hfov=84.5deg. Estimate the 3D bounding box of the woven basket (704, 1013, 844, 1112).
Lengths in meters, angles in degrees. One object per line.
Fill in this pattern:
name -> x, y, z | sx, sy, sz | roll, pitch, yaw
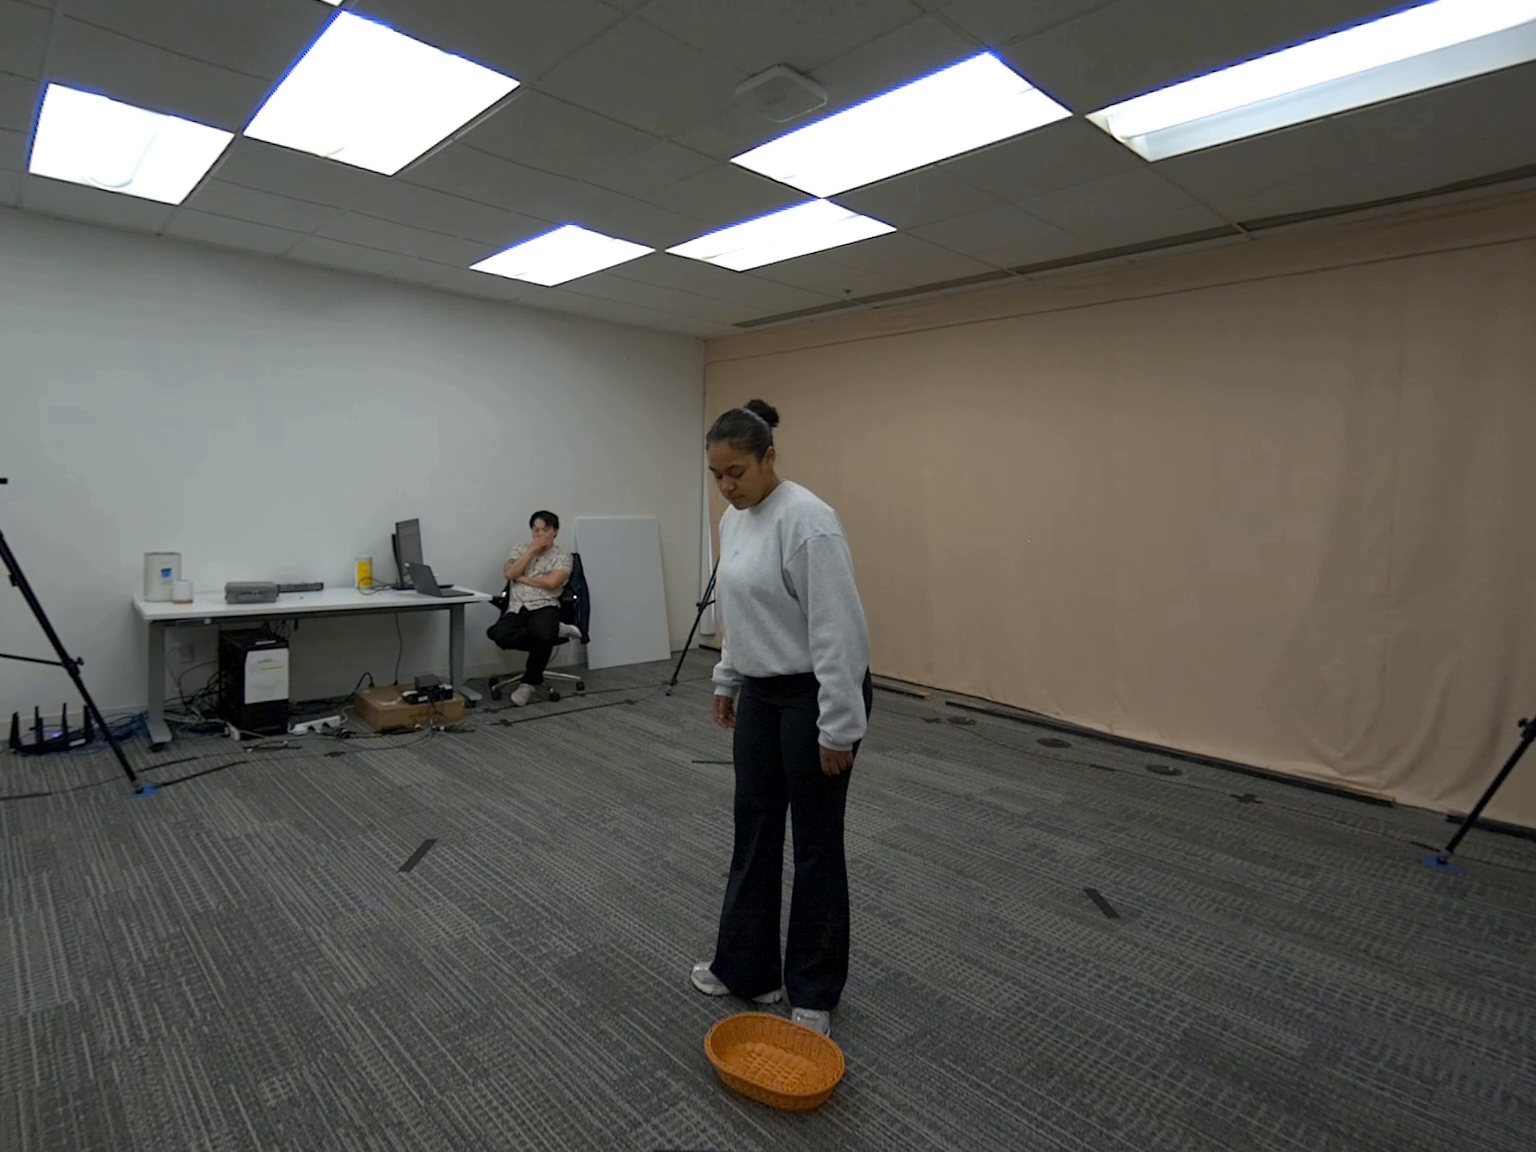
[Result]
woven basket -> 0.004, 1.175, 2.026 | 0.358, 0.073, 0.247 | 4, 7, 33
